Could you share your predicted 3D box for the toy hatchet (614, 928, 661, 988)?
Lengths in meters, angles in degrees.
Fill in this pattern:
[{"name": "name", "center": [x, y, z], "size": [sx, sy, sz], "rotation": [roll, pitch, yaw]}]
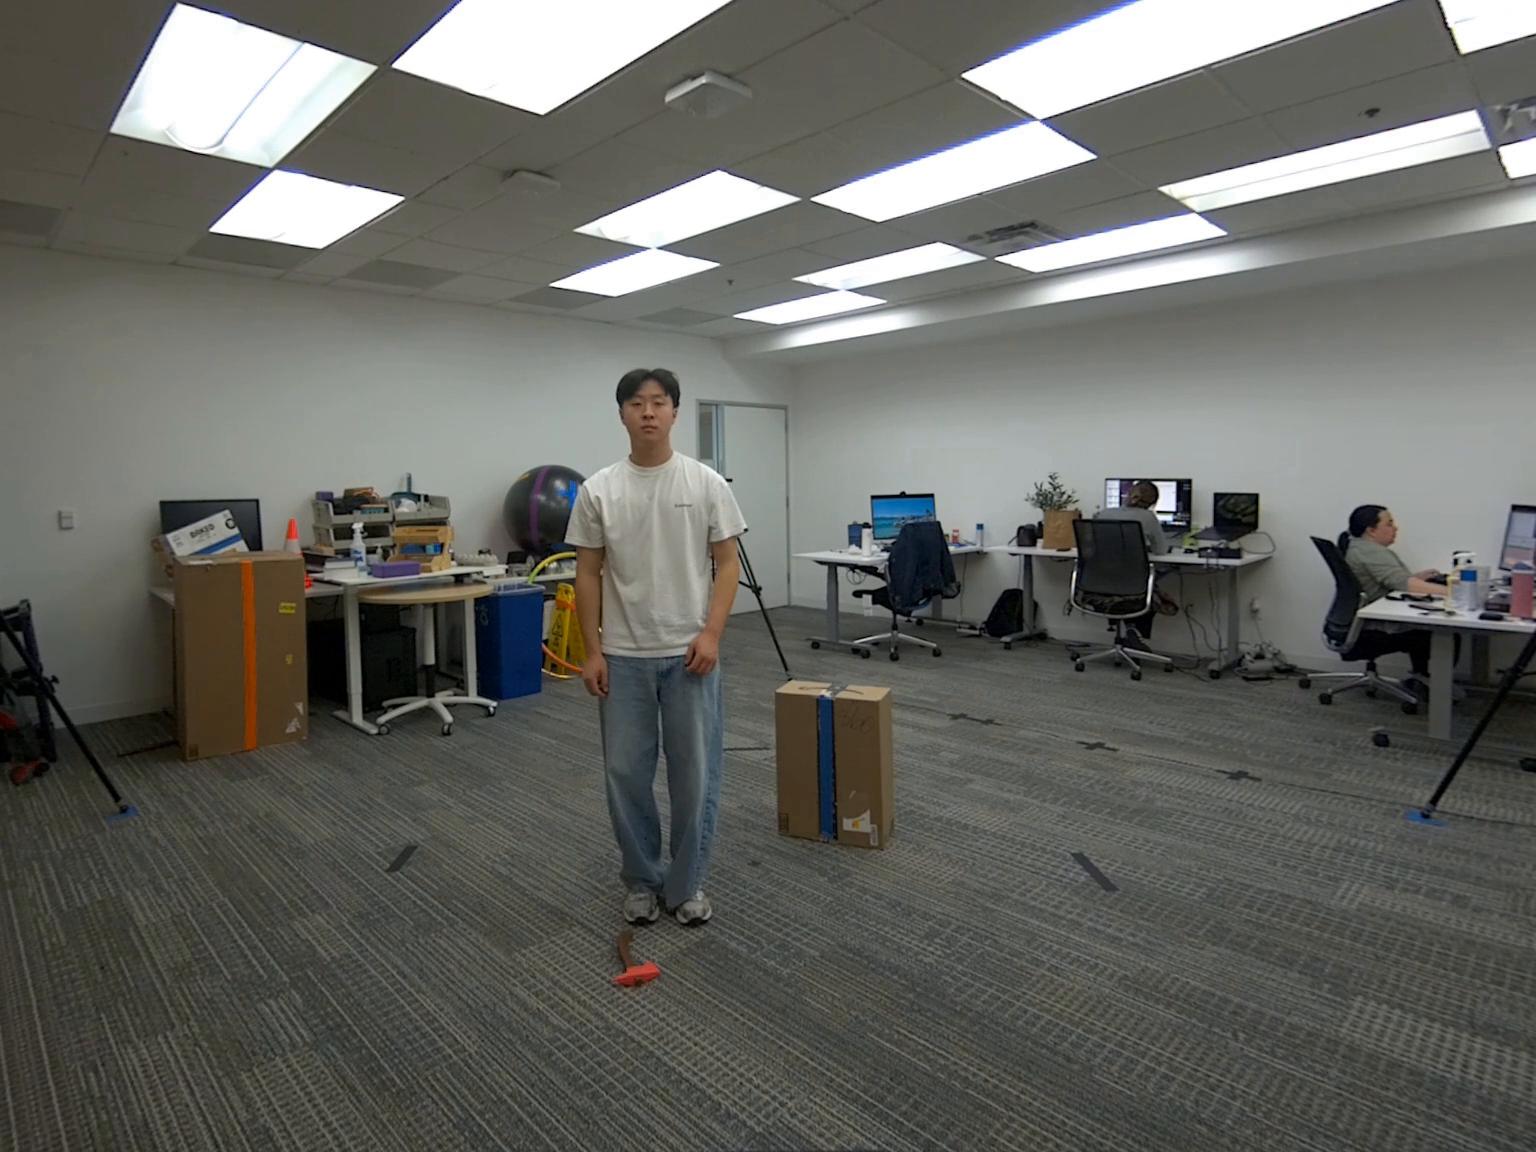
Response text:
[{"name": "toy hatchet", "center": [-0.375, 1.116, 2.497], "size": [0.130, 0.029, 0.272], "rotation": [-2, 6, -5]}]
